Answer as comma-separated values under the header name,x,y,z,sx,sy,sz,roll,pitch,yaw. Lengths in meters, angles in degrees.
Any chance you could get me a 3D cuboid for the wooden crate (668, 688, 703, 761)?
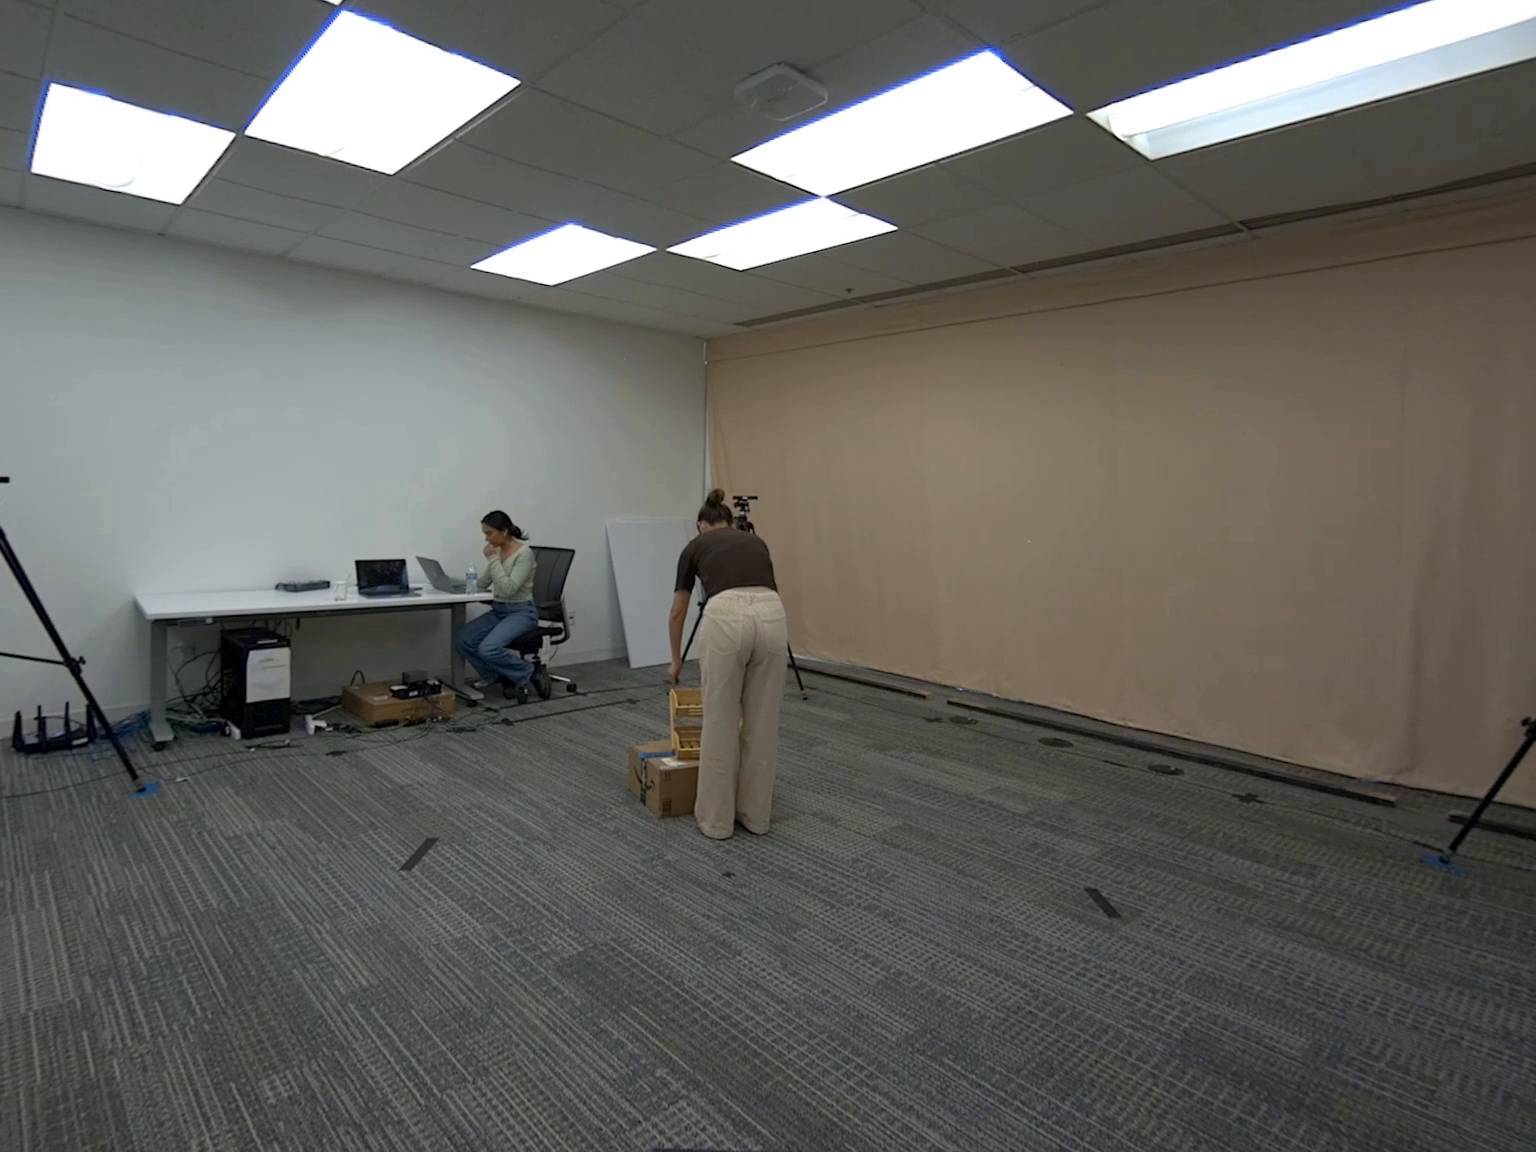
name,x,y,z,sx,sy,sz,roll,pitch,yaw
wooden crate,-0.299,0.677,3.921,0.321,0.273,0.306,1,3,-13
